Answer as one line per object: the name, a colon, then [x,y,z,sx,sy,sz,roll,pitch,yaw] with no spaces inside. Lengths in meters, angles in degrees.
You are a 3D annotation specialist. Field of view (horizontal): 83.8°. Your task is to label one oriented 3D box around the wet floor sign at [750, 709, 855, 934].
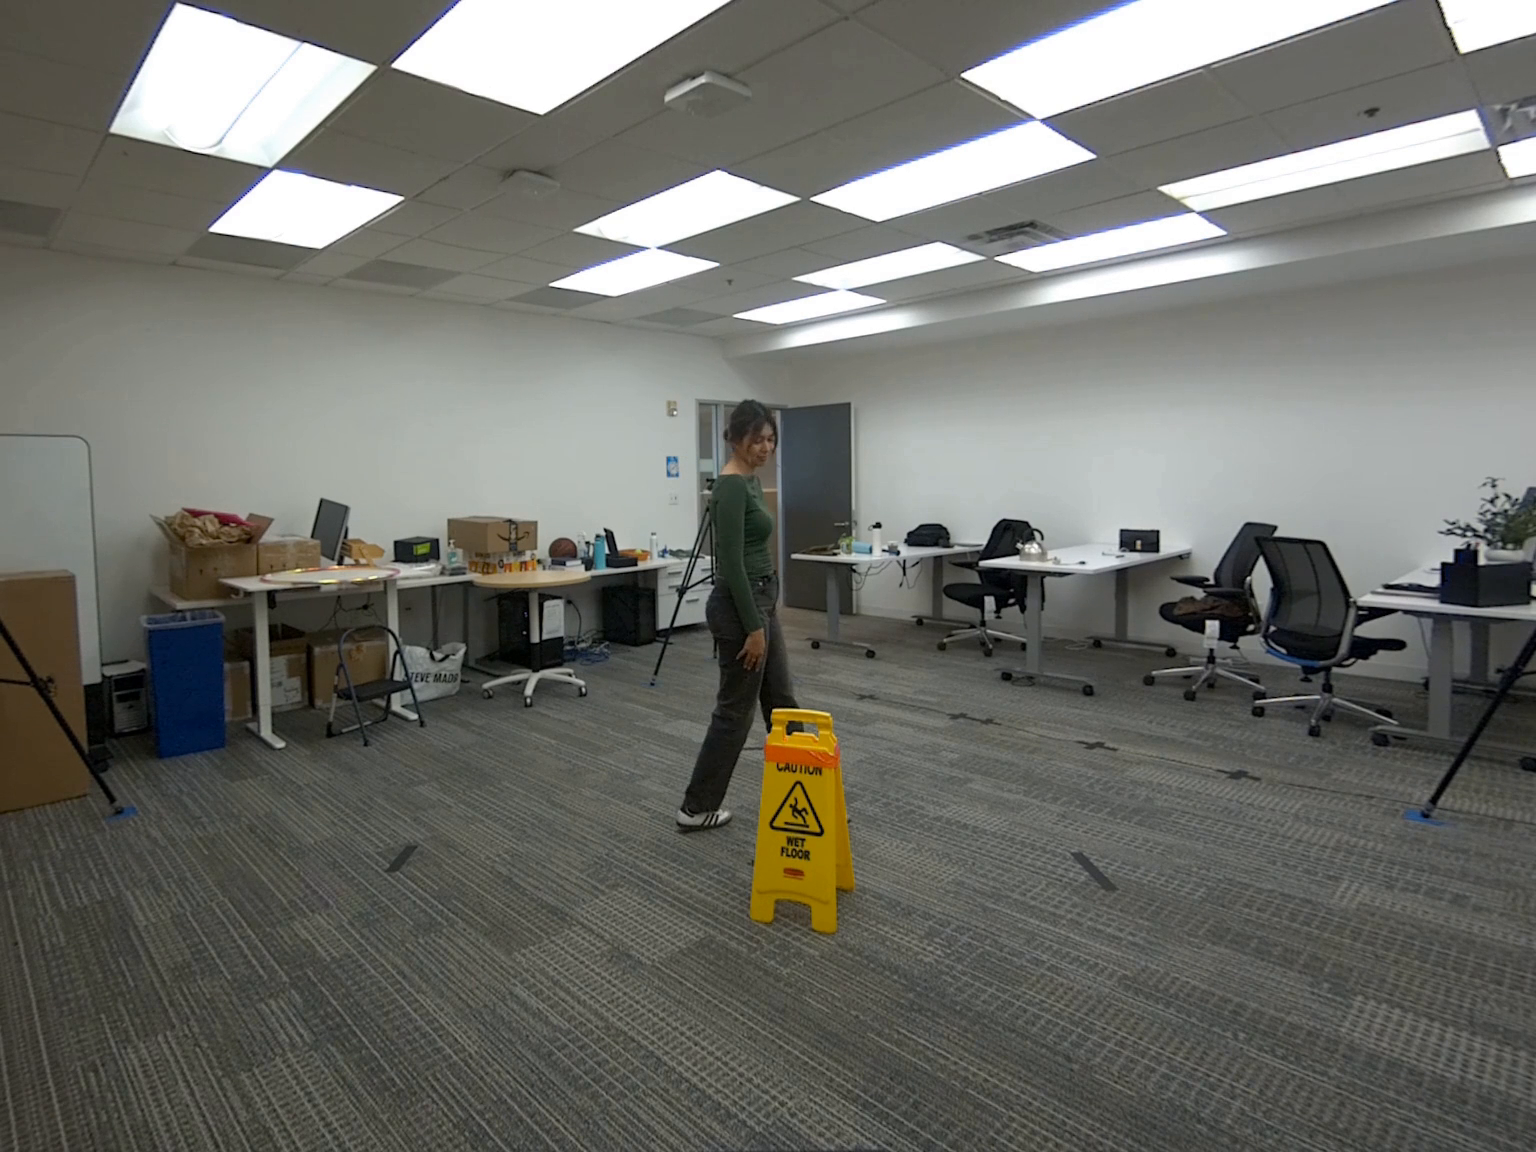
wet floor sign: [0.118,0.758,2.784,0.288,0.644,0.285,2,4,19]
